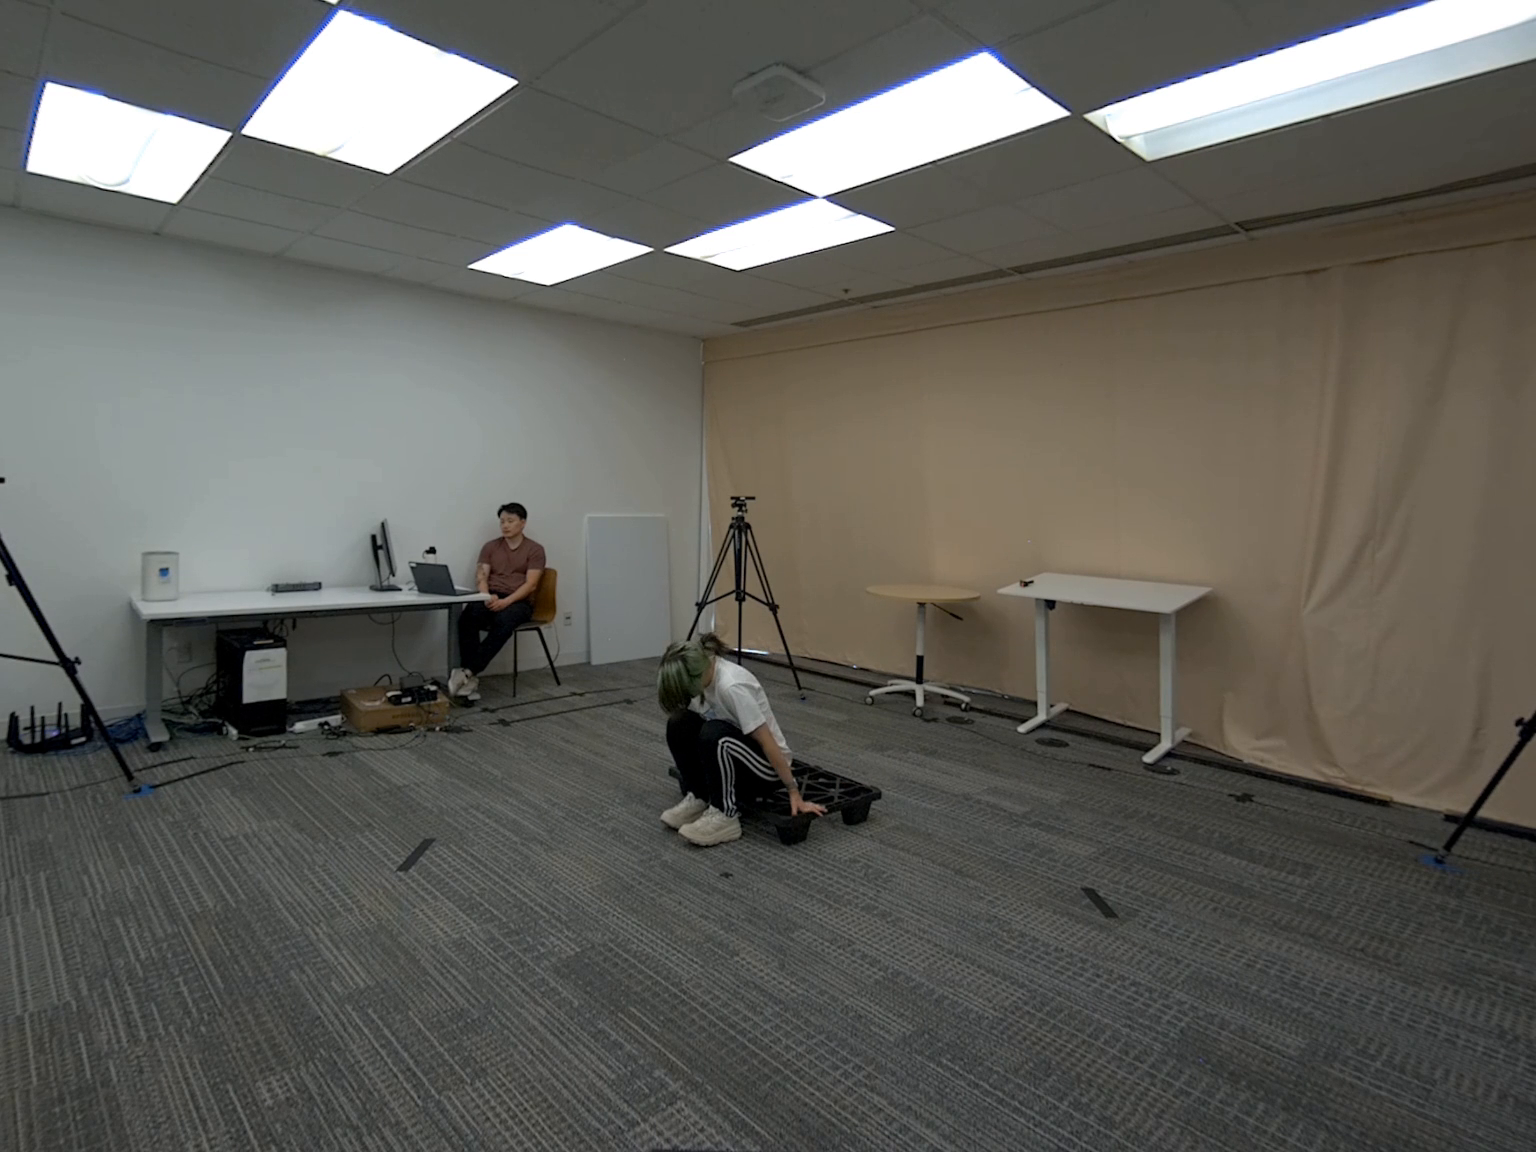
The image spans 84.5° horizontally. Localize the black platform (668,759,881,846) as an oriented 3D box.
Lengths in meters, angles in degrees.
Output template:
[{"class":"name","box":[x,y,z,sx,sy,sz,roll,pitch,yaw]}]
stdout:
[{"class":"black platform","box":[0.010,0.979,3.801,0.591,0.143,0.826,-3,6,-40]}]
